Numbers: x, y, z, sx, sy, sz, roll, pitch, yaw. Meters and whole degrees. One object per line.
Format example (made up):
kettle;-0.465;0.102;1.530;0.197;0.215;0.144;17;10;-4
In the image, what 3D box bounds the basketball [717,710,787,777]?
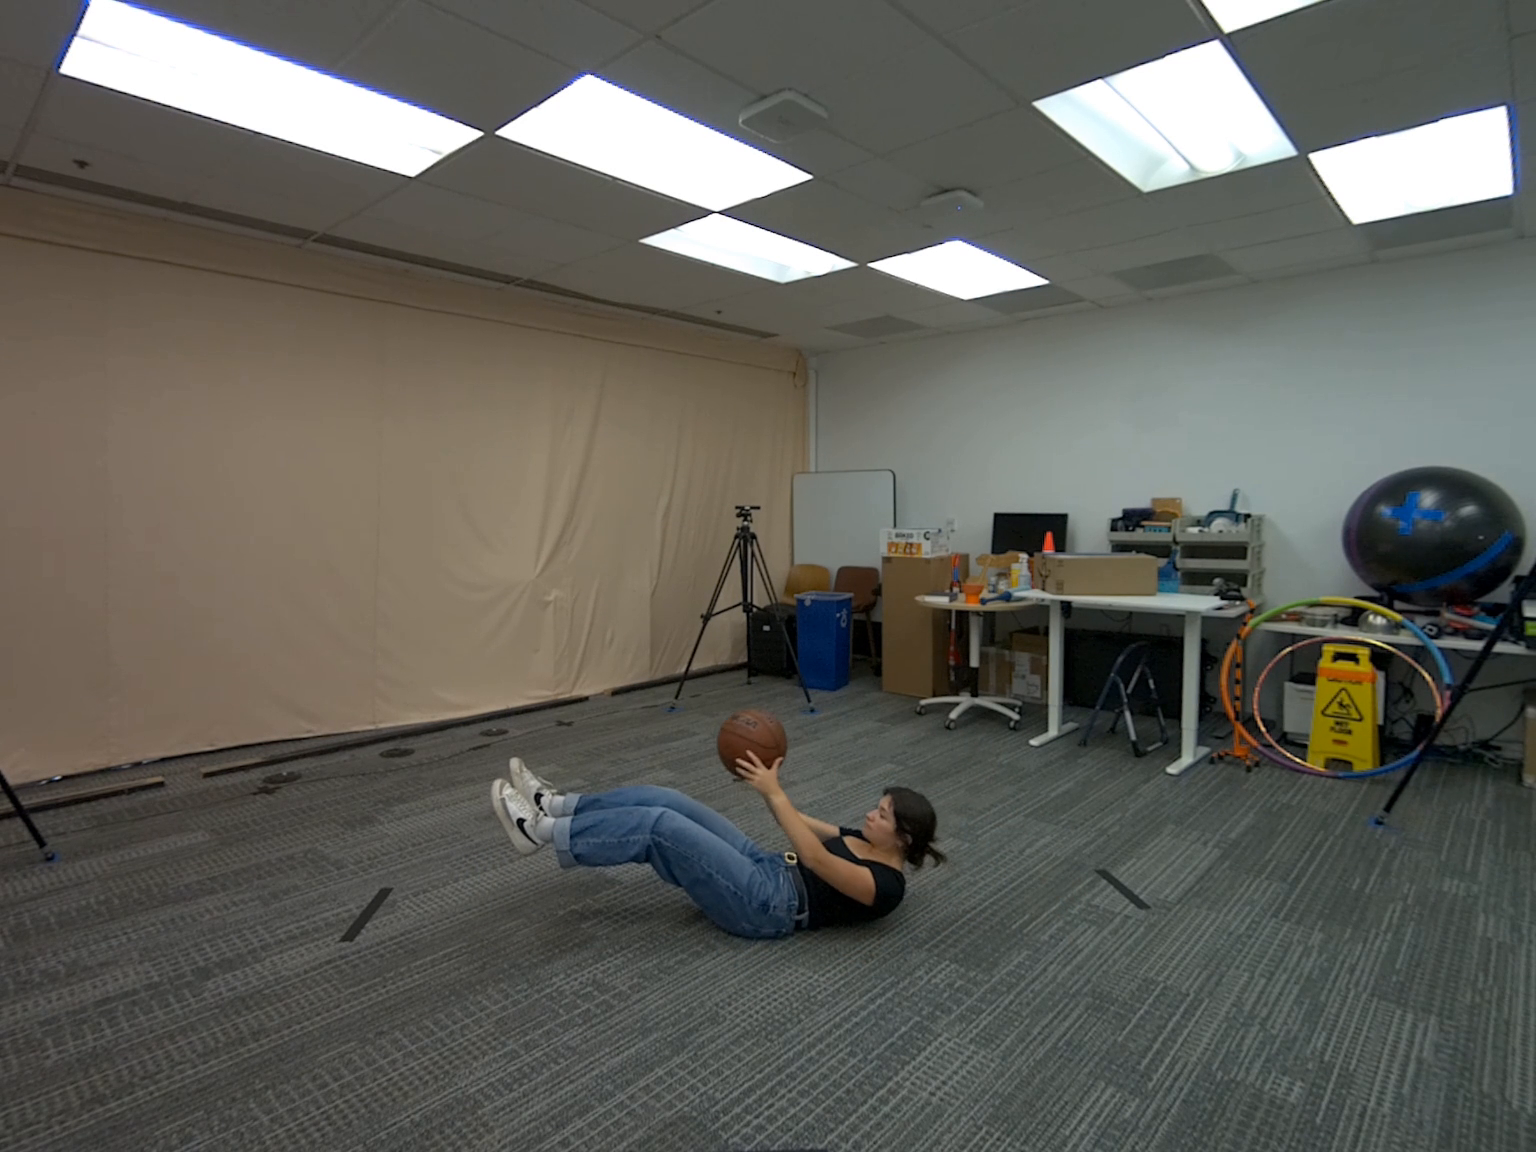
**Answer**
basketball;-0.036;0.569;2.838;0.236;0.235;0.237;0;4;-2
